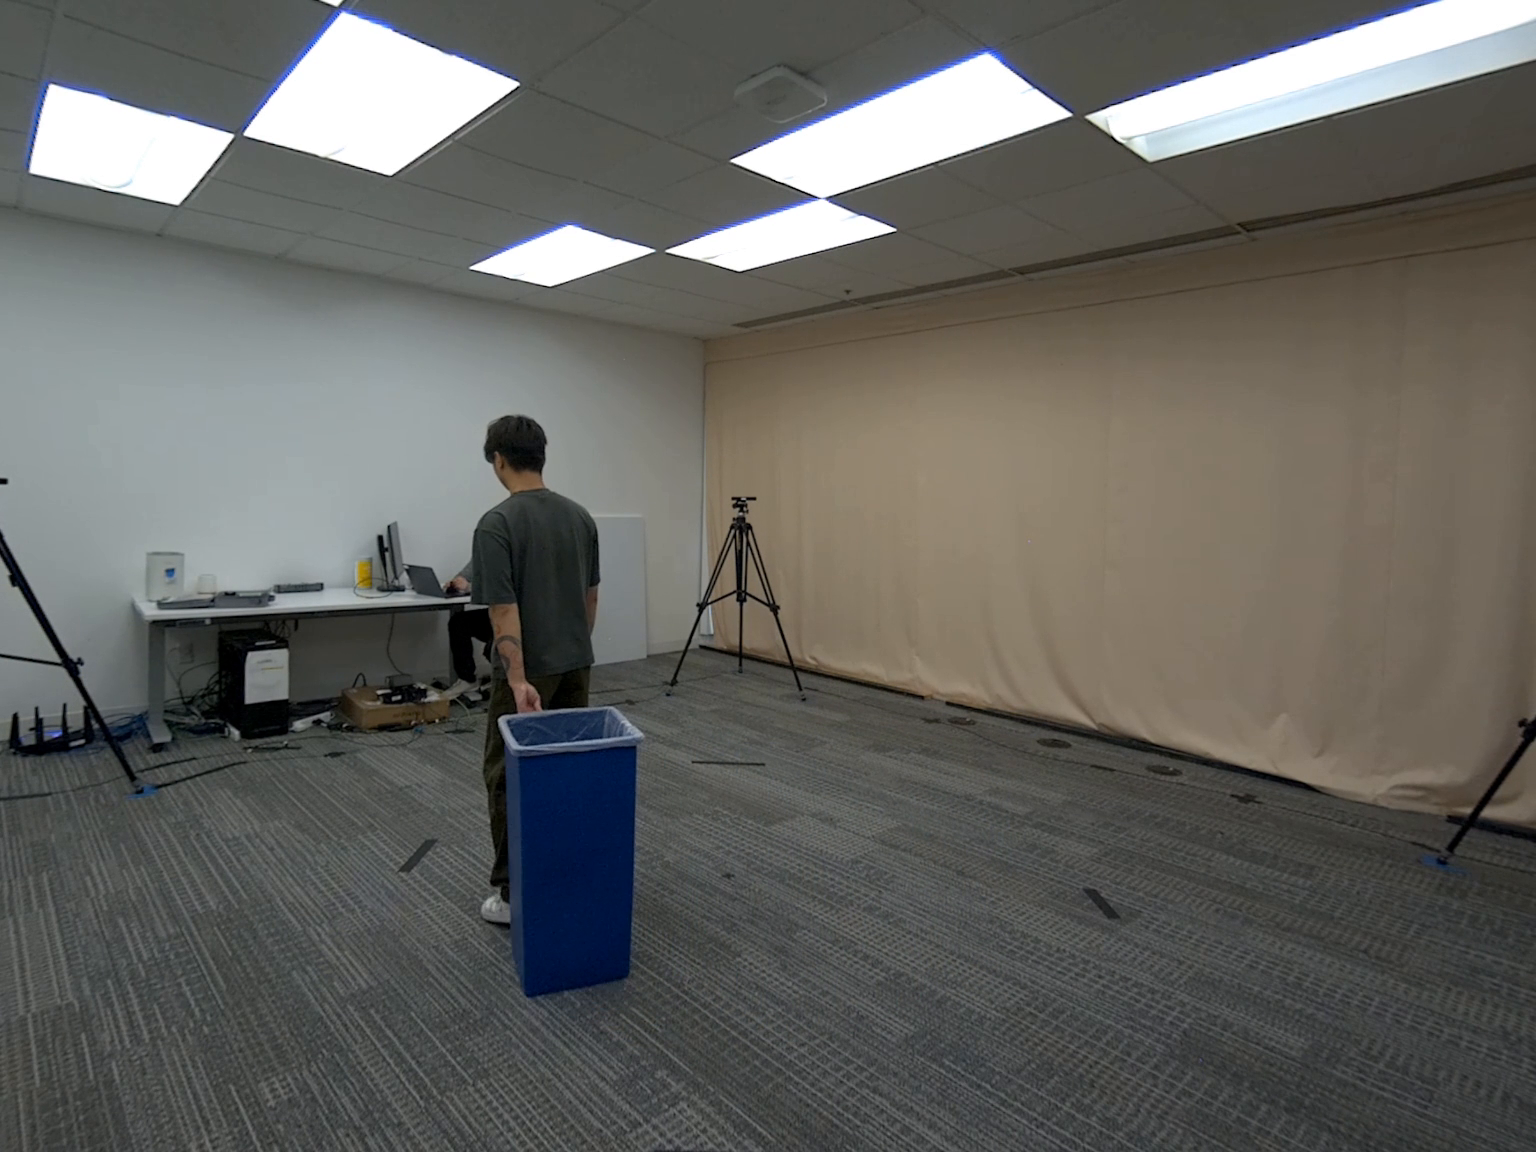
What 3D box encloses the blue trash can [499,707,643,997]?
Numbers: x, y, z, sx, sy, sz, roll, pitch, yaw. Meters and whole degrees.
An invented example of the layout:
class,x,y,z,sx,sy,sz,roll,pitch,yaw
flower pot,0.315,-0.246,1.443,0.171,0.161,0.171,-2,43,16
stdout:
class,x,y,z,sx,sy,sz,roll,pitch,yaw
blue trash can,-0.597,0.797,2.486,0.367,0.712,0.385,0,3,-24
